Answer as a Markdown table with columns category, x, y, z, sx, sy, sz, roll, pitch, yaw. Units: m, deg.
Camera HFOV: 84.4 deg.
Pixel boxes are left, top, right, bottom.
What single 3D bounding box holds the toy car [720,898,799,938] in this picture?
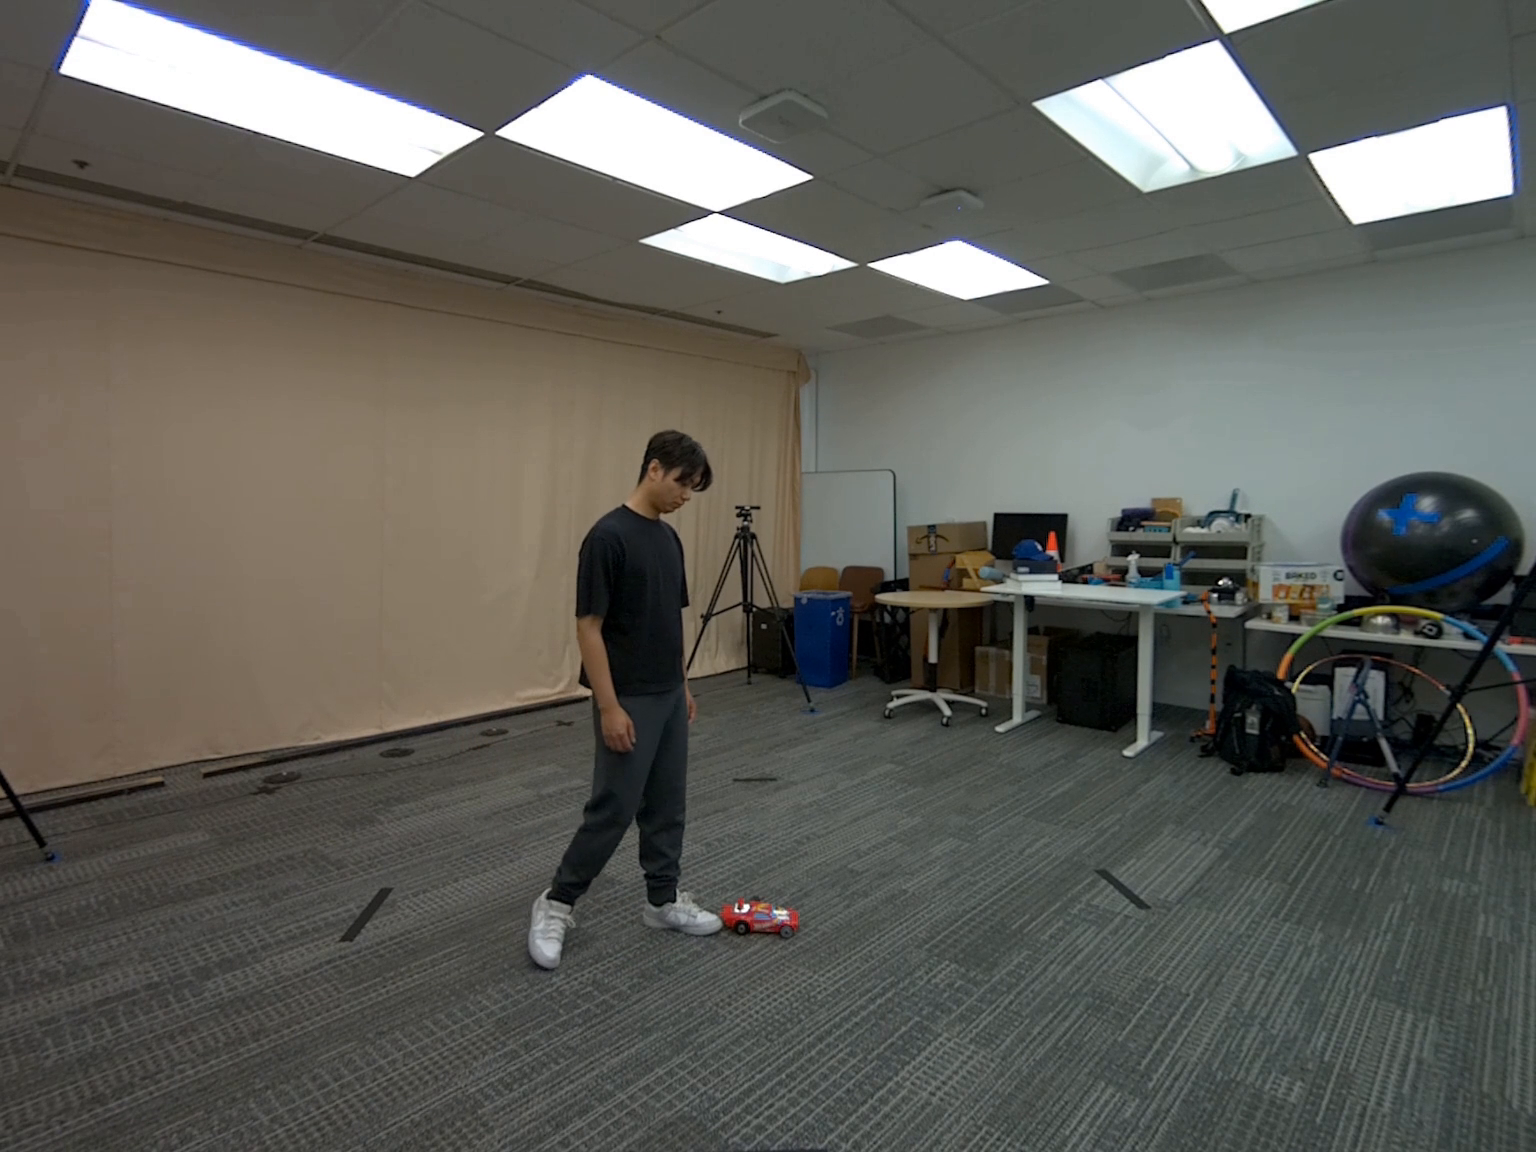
| category | x | y | z | sx | sy | sz | roll | pitch | yaw |
| --- | --- | --- | --- | --- | --- | --- | --- | --- | --- |
| toy car | -0.026 | 1.134 | 2.765 | 0.256 | 0.083 | 0.129 | 12 | 5 | 6 |
